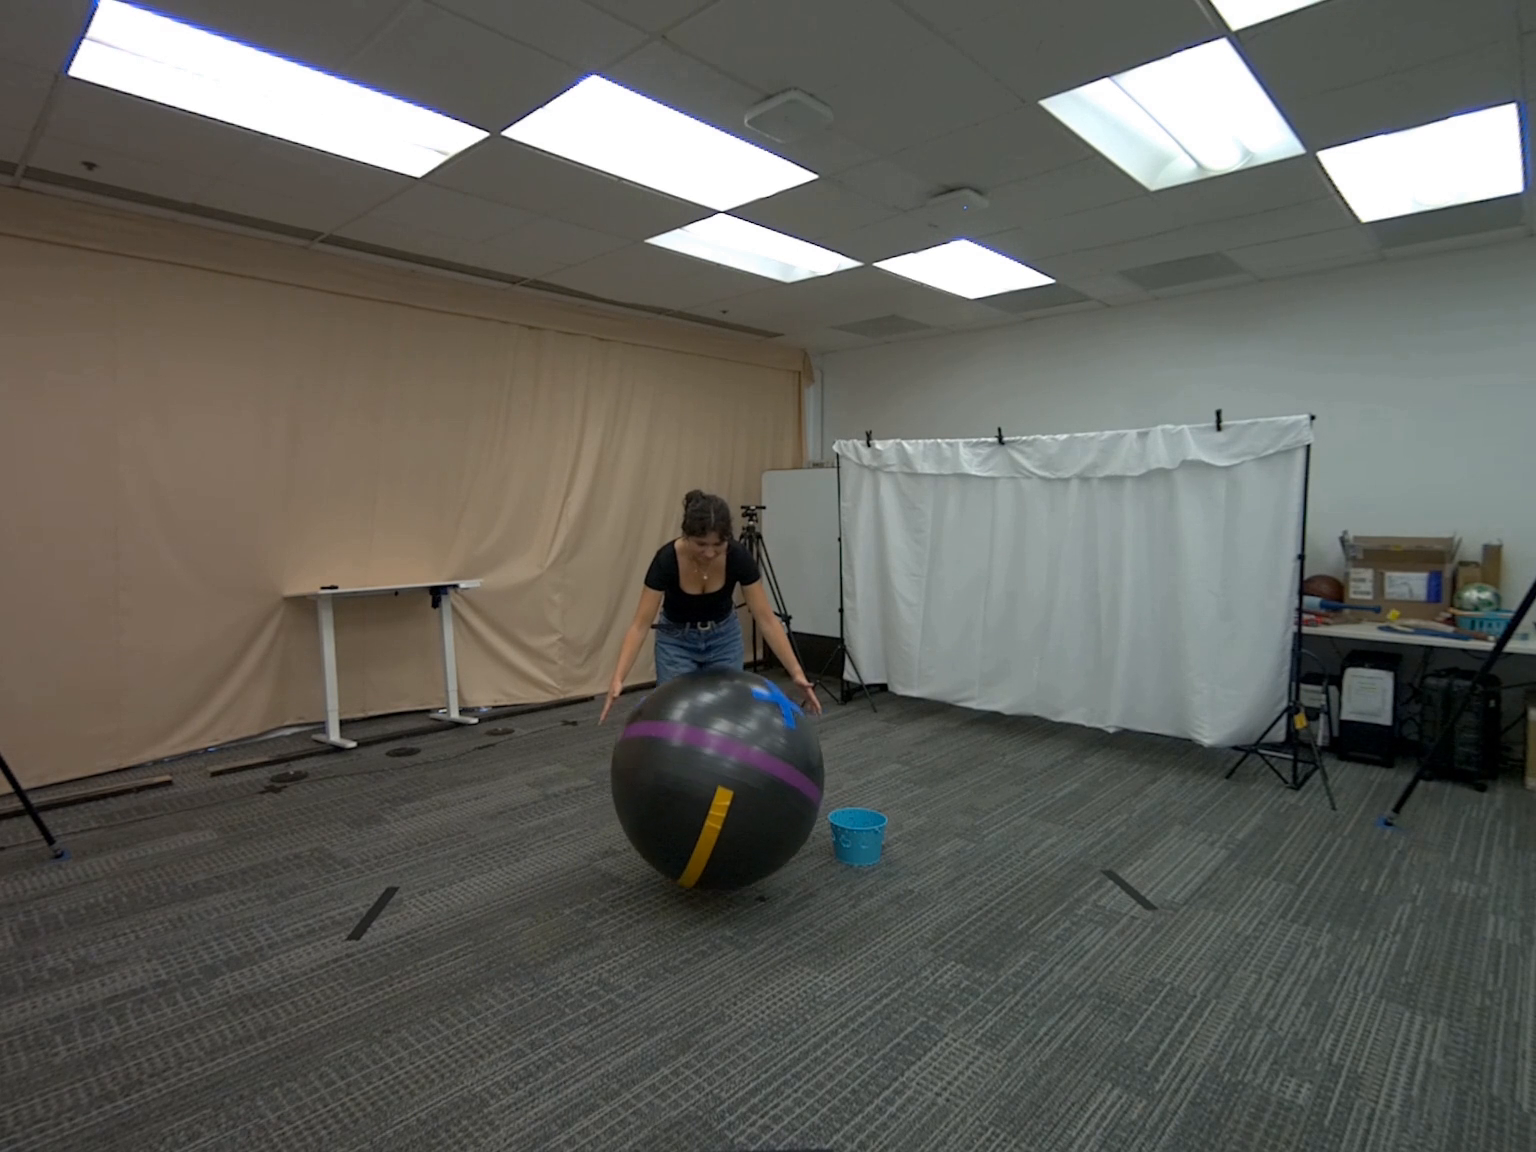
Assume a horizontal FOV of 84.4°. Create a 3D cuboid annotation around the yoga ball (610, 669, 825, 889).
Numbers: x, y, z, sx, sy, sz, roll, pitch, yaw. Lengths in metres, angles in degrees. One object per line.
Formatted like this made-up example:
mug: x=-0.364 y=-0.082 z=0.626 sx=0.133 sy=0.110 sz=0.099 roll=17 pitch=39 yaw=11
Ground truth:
yoga ball: x=-0.180 y=0.713 z=2.976 sx=0.757 sy=0.756 sz=0.760 roll=0 pitch=4 yaw=-2
